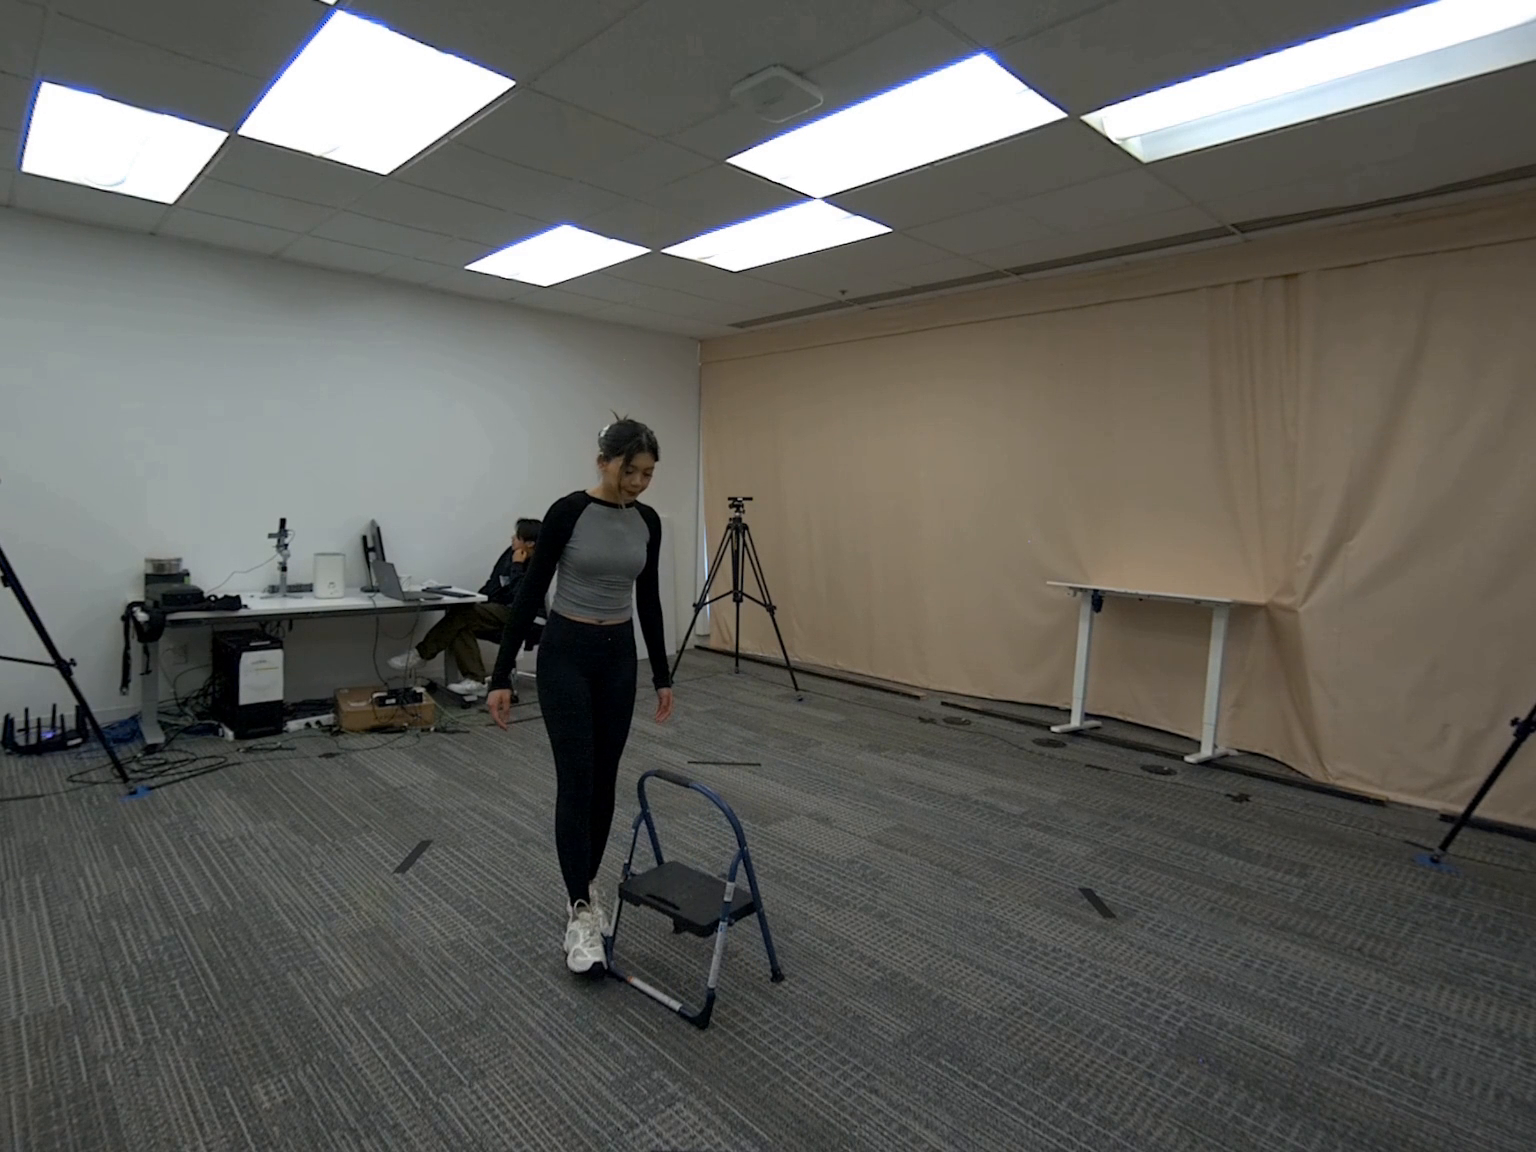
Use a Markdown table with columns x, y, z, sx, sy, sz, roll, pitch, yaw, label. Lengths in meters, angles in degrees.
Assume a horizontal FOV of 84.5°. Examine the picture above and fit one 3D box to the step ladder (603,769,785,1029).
| x | y | z | sx | sy | sz | roll | pitch | yaw | label |
| --- | --- | --- | --- | --- | --- | --- | --- | --- | --- |
| -0.228 | 0.866 | 2.439 | 0.441 | 0.605 | 0.341 | 3 | 4 | 39 | step ladder |
